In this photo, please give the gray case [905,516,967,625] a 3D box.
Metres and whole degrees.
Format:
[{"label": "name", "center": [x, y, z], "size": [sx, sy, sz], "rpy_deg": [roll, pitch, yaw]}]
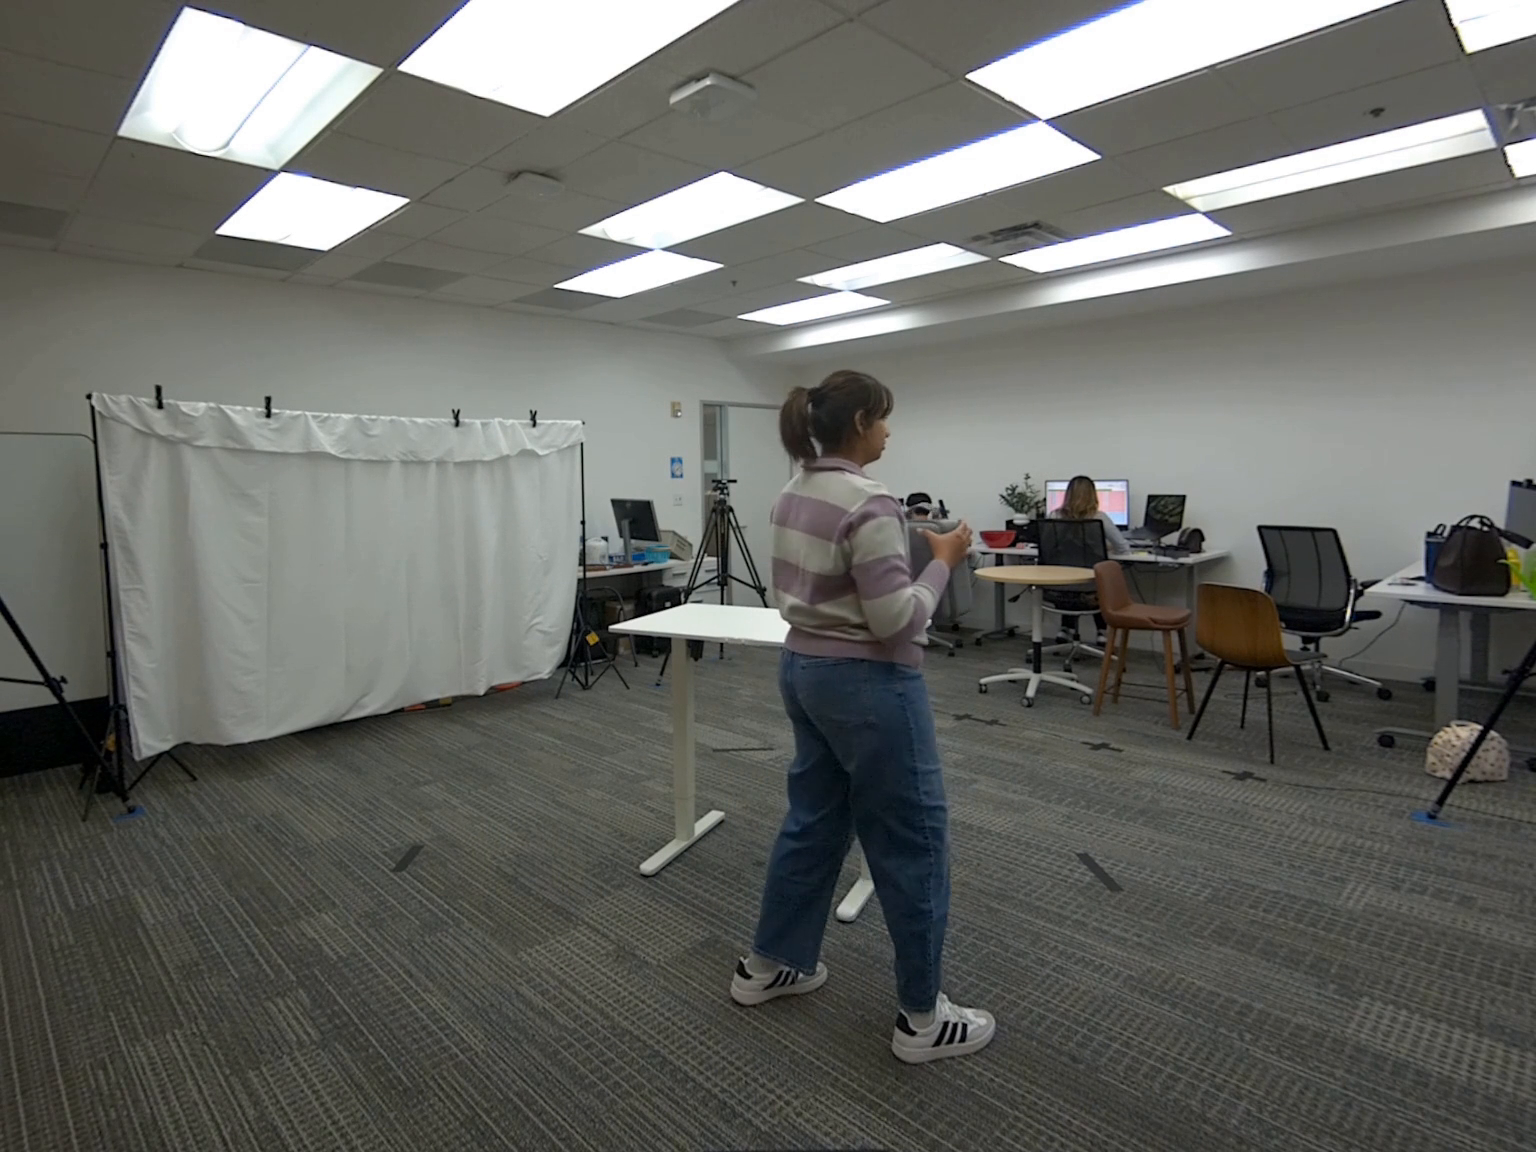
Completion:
[{"label": "gray case", "center": [0.392, -0.024, 2.254], "size": [0.102, 0.260, 0.263], "rpy_deg": [-1, 4, -26]}]
